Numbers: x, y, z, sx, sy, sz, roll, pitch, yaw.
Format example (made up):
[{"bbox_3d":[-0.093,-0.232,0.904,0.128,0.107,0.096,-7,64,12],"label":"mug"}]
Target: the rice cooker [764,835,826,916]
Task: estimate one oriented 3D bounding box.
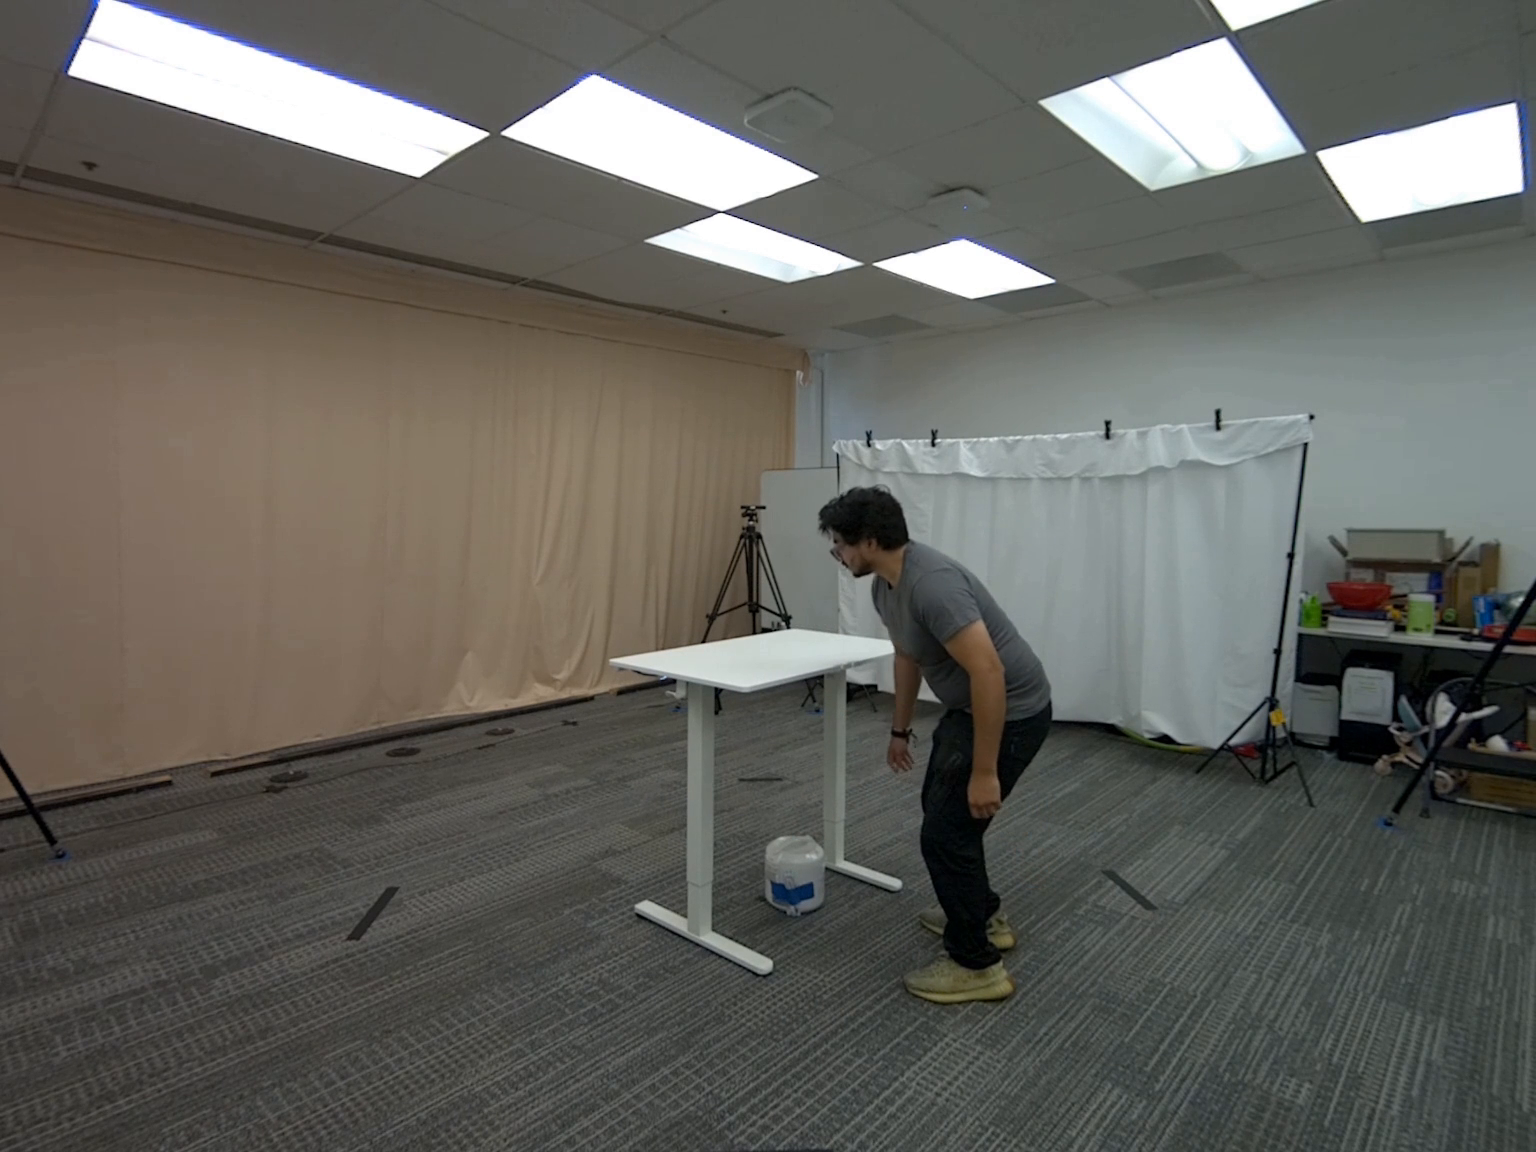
[{"bbox_3d":[0.095,1.034,2.948,0.214,0.232,0.224,-3,6,-36],"label":"rice cooker"}]
